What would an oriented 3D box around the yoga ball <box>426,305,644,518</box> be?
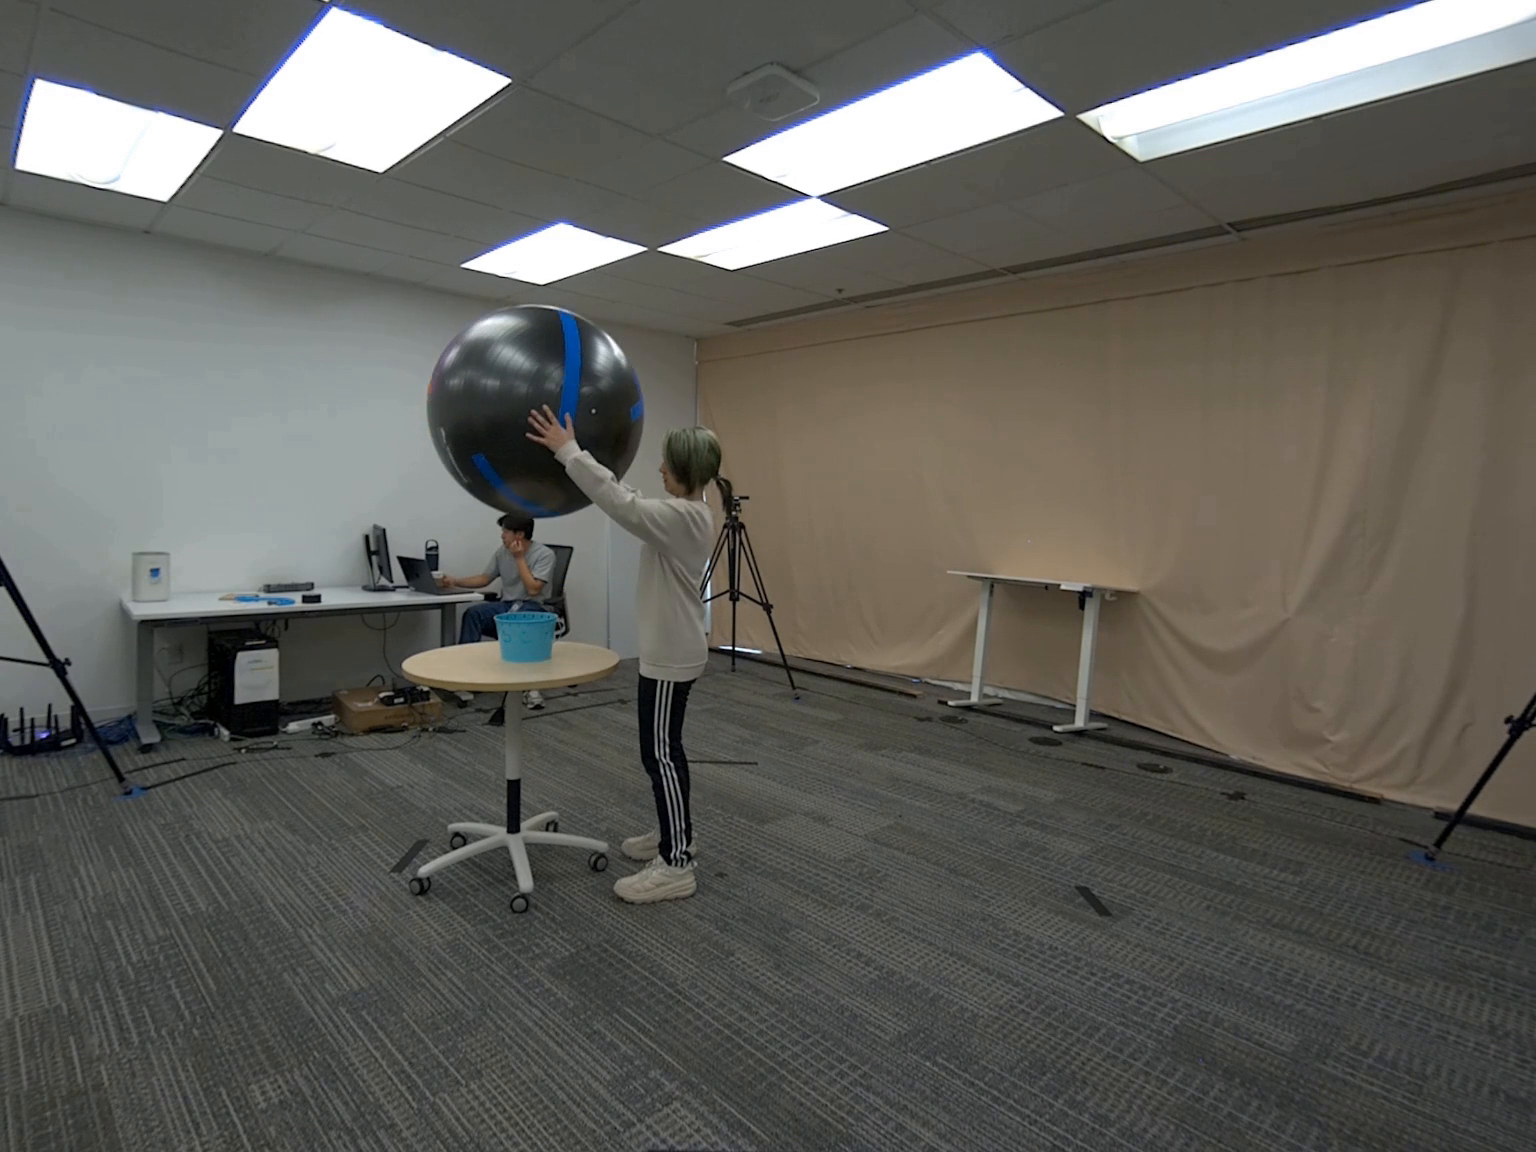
[{"bbox_3d":[-0.833,-0.580,3.042,0.757,0.756,0.761,1,4,-1],"label":"yoga ball"}]
